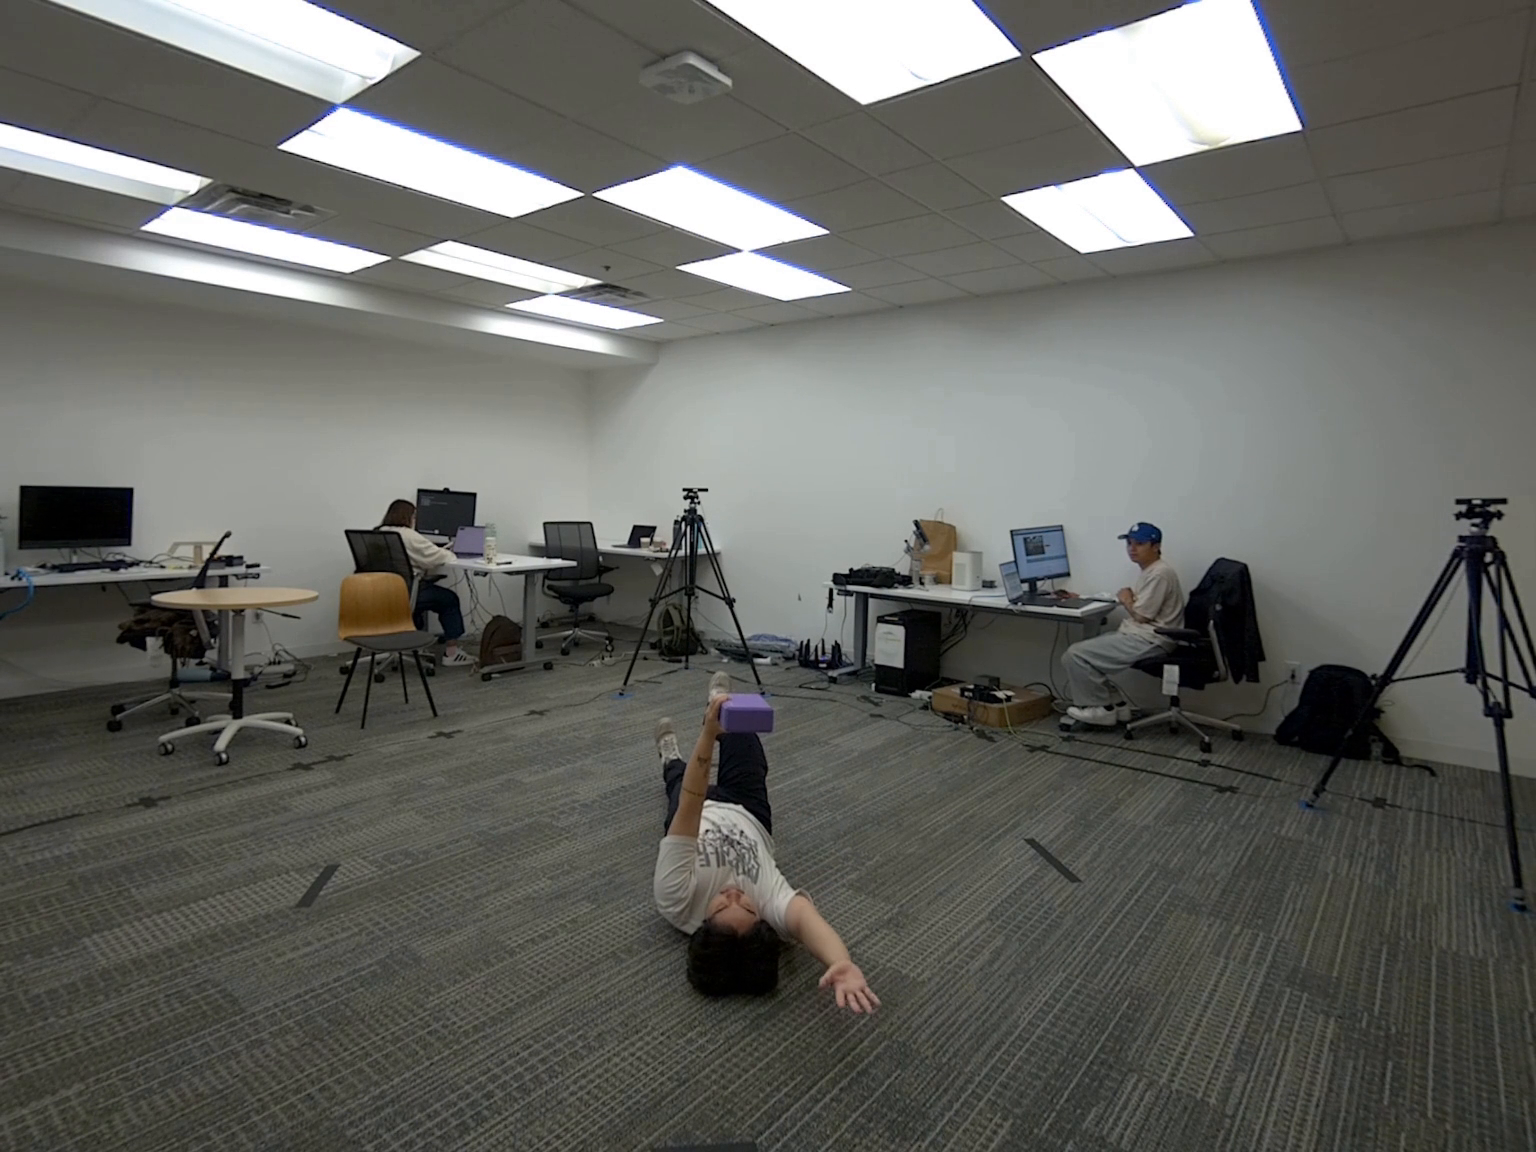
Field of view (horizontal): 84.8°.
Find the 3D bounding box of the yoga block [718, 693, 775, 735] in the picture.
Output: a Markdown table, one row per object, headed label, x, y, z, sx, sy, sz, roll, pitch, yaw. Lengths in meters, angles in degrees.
| label | x | y | z | sx | sy | sz | roll | pitch | yaw |
| --- | --- | --- | --- | --- | --- | --- | --- | --- | --- |
| yoga block | -0.089 | 0.422 | 2.608 | 0.148 | 0.076 | 0.231 | 1 | 2 | -8 |
